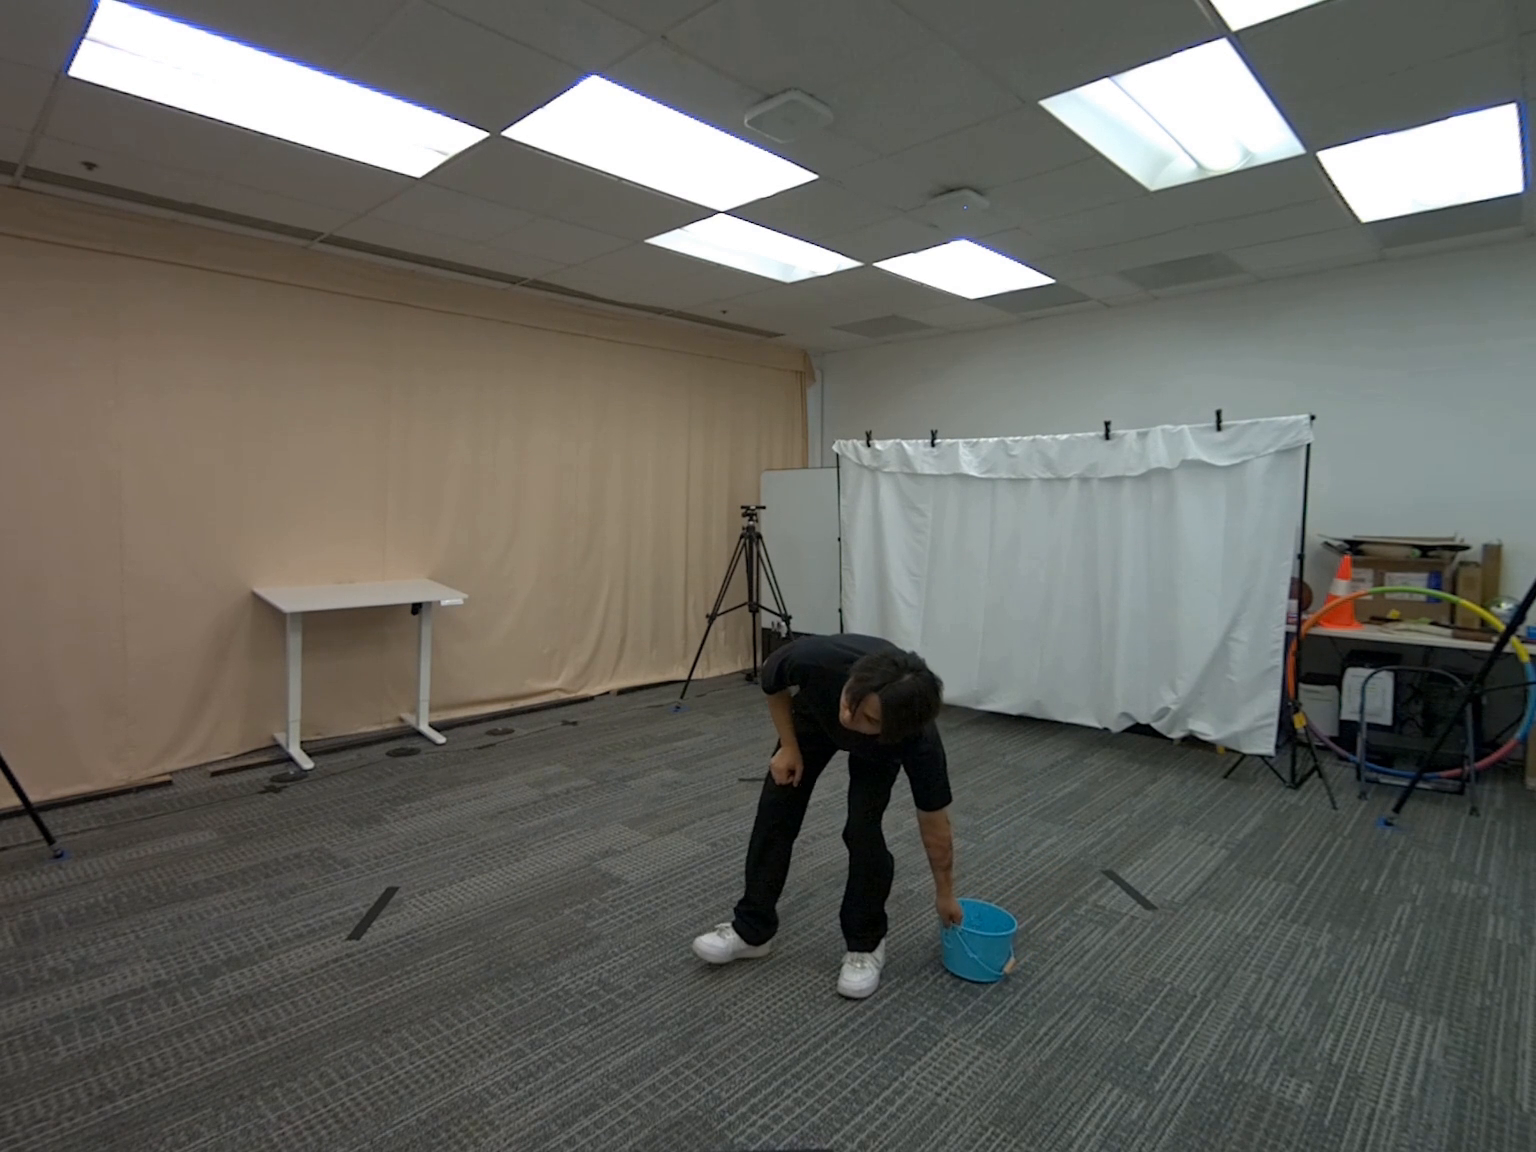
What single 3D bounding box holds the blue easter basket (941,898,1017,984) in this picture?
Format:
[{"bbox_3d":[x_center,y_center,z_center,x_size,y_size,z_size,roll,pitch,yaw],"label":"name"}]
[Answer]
[{"bbox_3d":[0.633,1.101,2.529,0.243,0.156,0.244,4,2,-2],"label":"blue easter basket"}]
